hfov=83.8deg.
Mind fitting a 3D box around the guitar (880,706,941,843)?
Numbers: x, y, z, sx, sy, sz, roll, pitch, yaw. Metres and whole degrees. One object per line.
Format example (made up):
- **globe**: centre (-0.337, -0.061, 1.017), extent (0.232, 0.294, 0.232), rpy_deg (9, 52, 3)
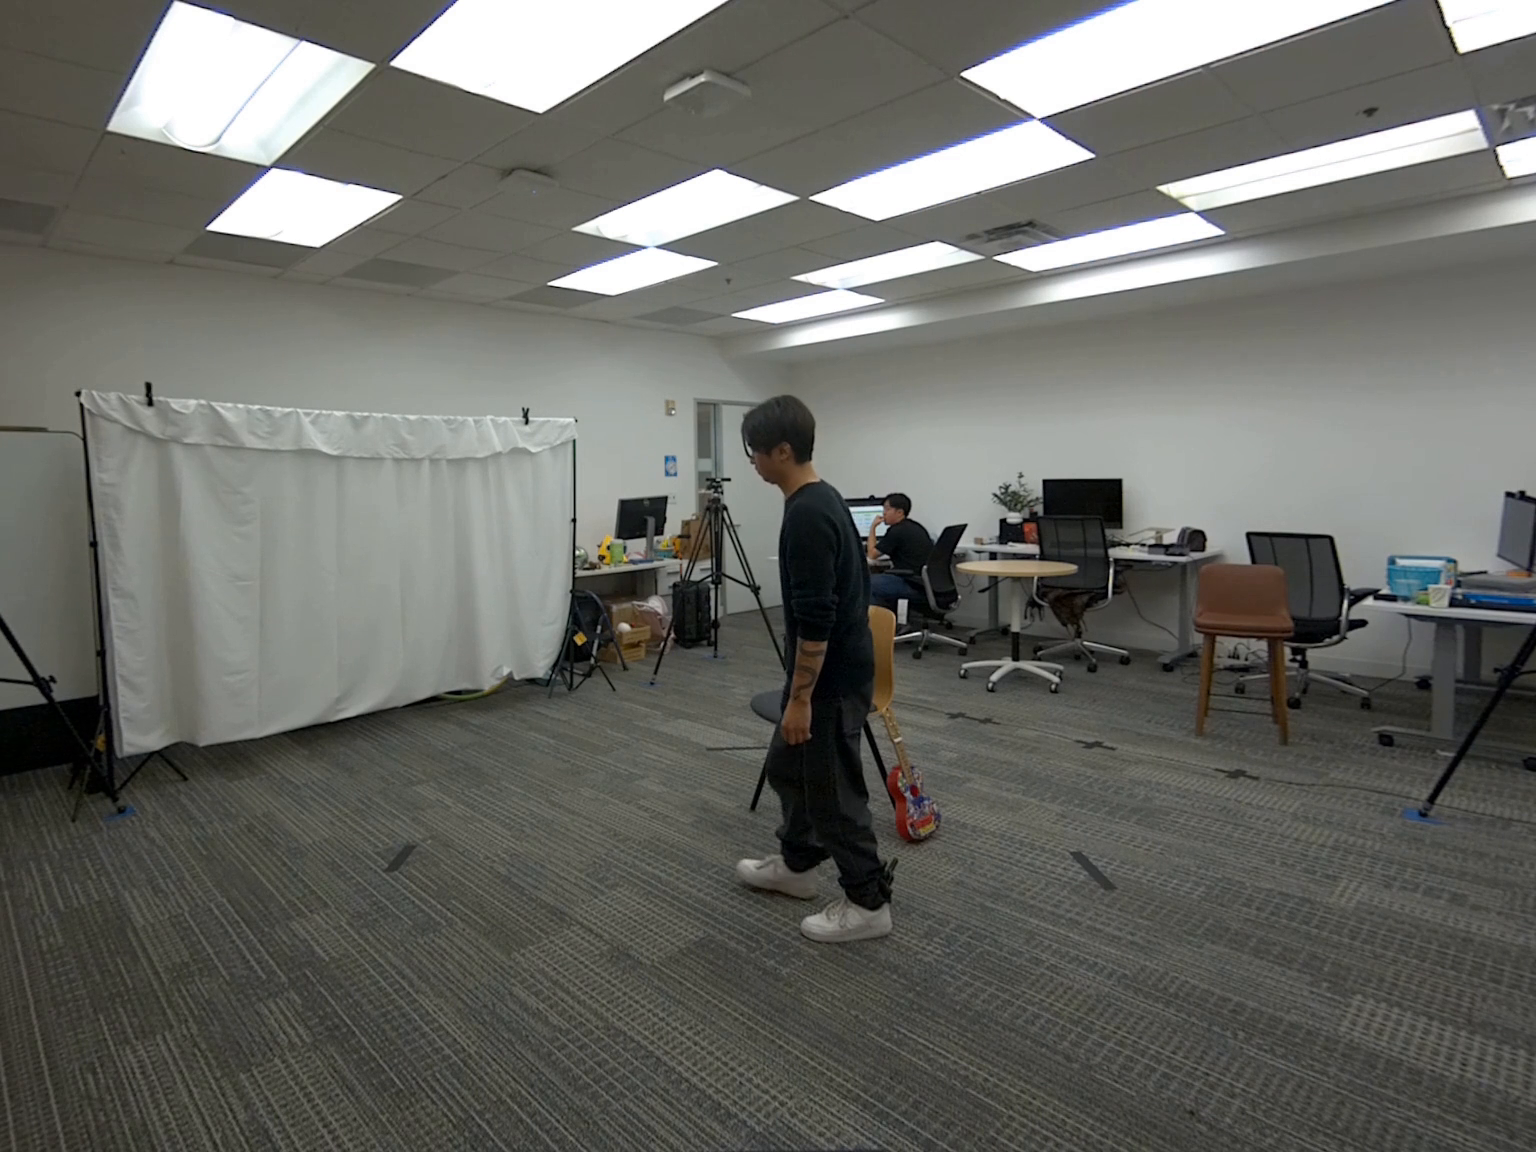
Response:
- **guitar**: centre (0.551, 0.762, 3.333), extent (0.188, 0.505, 0.071), rpy_deg (-1, -16, -35)
